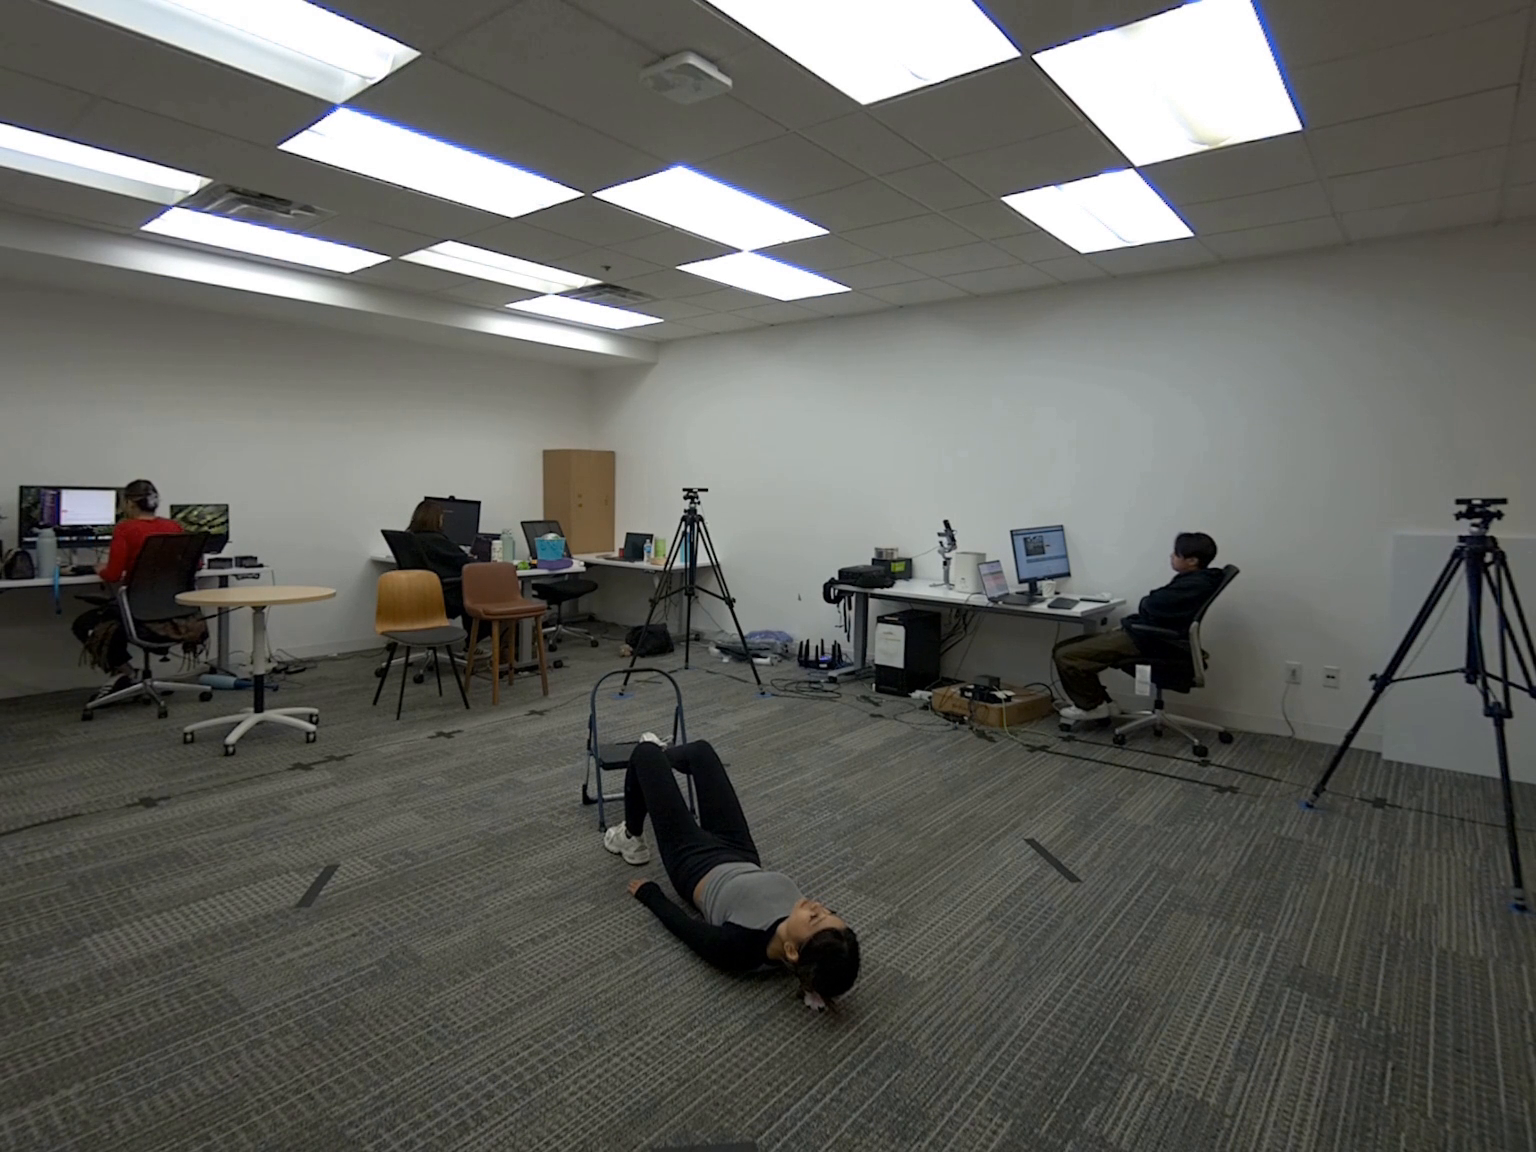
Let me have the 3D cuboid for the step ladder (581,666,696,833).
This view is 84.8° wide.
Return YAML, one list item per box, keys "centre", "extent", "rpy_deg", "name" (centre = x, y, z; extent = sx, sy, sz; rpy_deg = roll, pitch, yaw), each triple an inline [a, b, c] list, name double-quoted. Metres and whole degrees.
- centre: [-0.572, 0.710, 3.654]
  extent: [0.420, 0.604, 0.359]
  rpy_deg: [-1, 4, -25]
  name: "step ladder"
